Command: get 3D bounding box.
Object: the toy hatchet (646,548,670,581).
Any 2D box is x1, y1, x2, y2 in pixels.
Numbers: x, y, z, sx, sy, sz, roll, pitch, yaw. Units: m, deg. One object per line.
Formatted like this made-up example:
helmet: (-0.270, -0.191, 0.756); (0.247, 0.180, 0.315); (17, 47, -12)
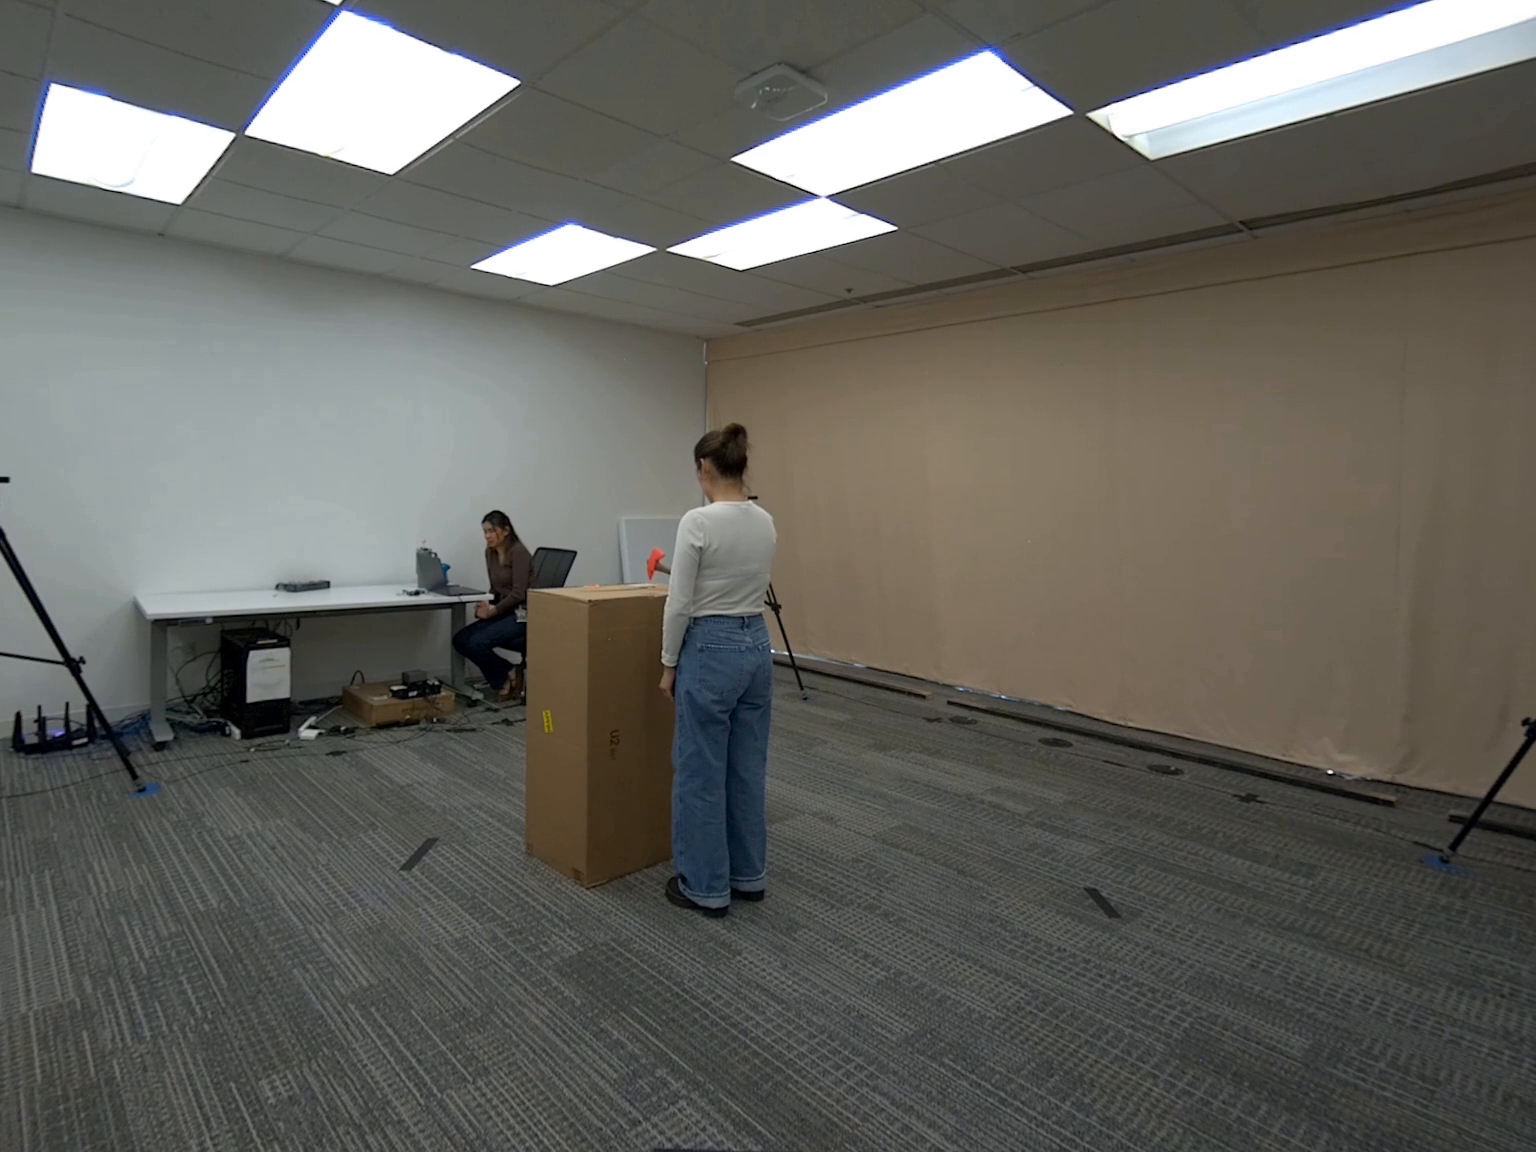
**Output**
toy hatchet: (-0.391, -0.046, 3.304); (0.276, 0.131, 0.029); (-2, -3, 39)
